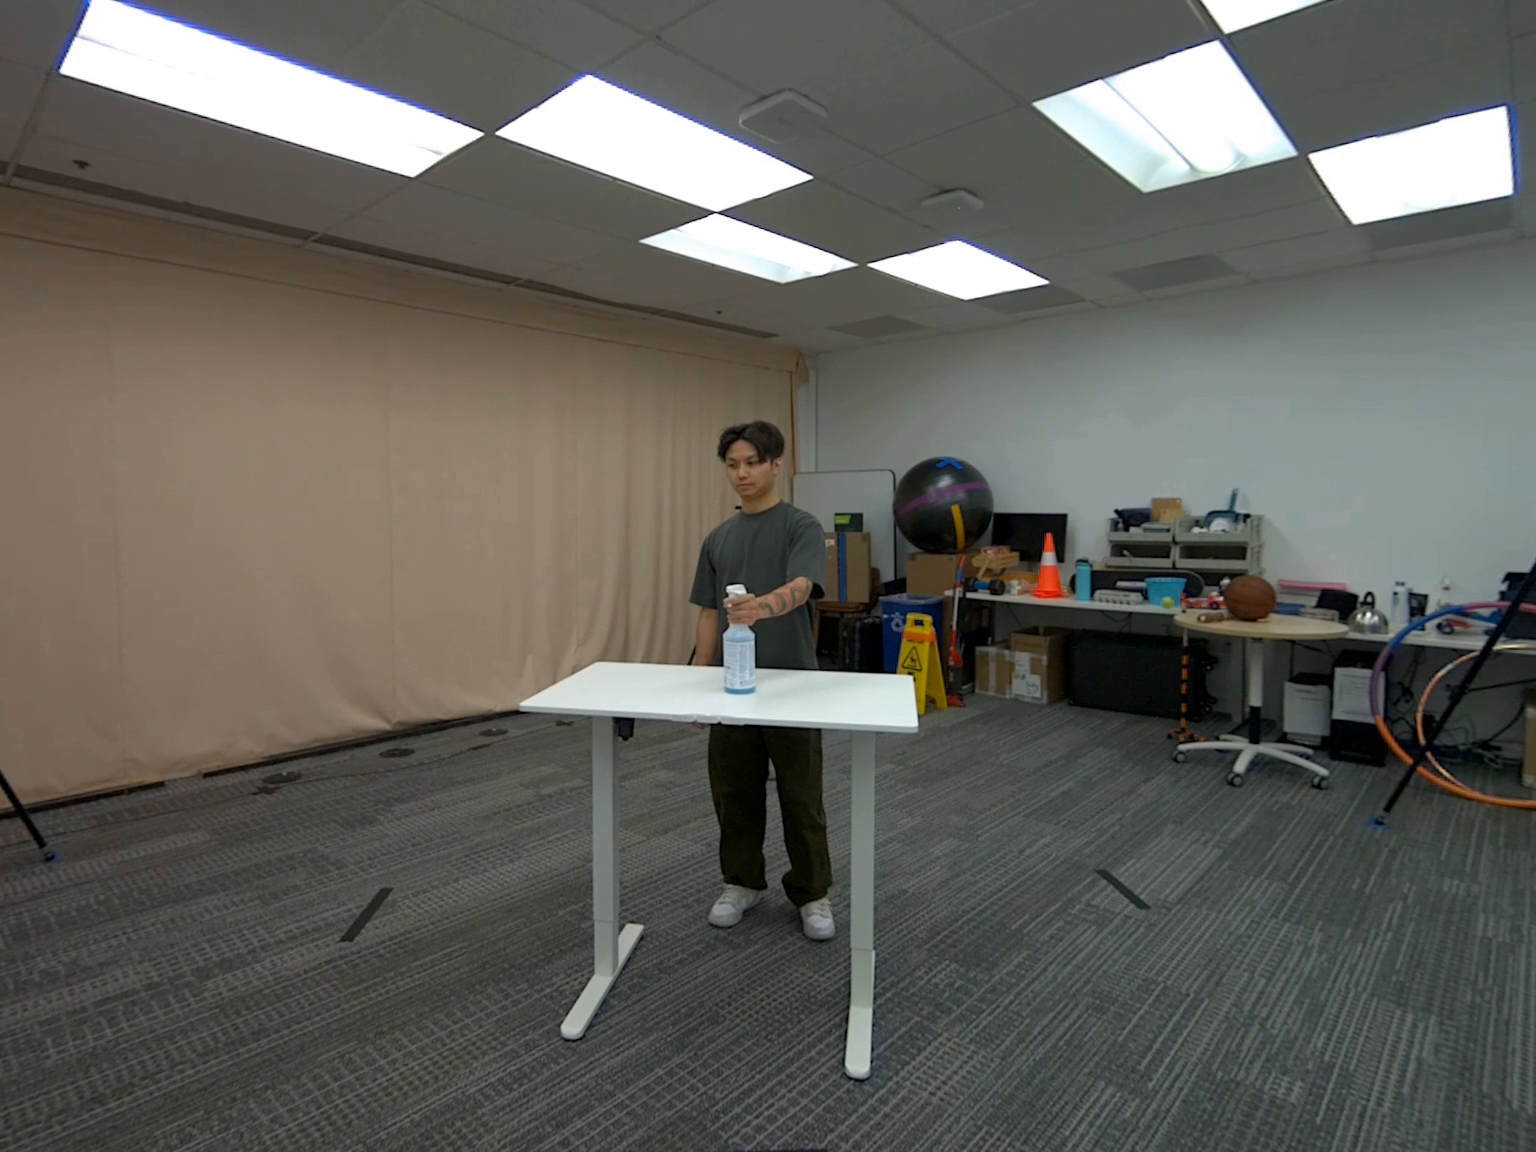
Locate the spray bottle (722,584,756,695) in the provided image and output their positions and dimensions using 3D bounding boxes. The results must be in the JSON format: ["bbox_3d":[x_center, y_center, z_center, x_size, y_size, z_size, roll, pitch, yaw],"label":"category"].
[{"bbox_3d":[-0.078,0.171,2.313,0.087,0.296,0.090,-7,7,-36],"label":"spray bottle"}]
